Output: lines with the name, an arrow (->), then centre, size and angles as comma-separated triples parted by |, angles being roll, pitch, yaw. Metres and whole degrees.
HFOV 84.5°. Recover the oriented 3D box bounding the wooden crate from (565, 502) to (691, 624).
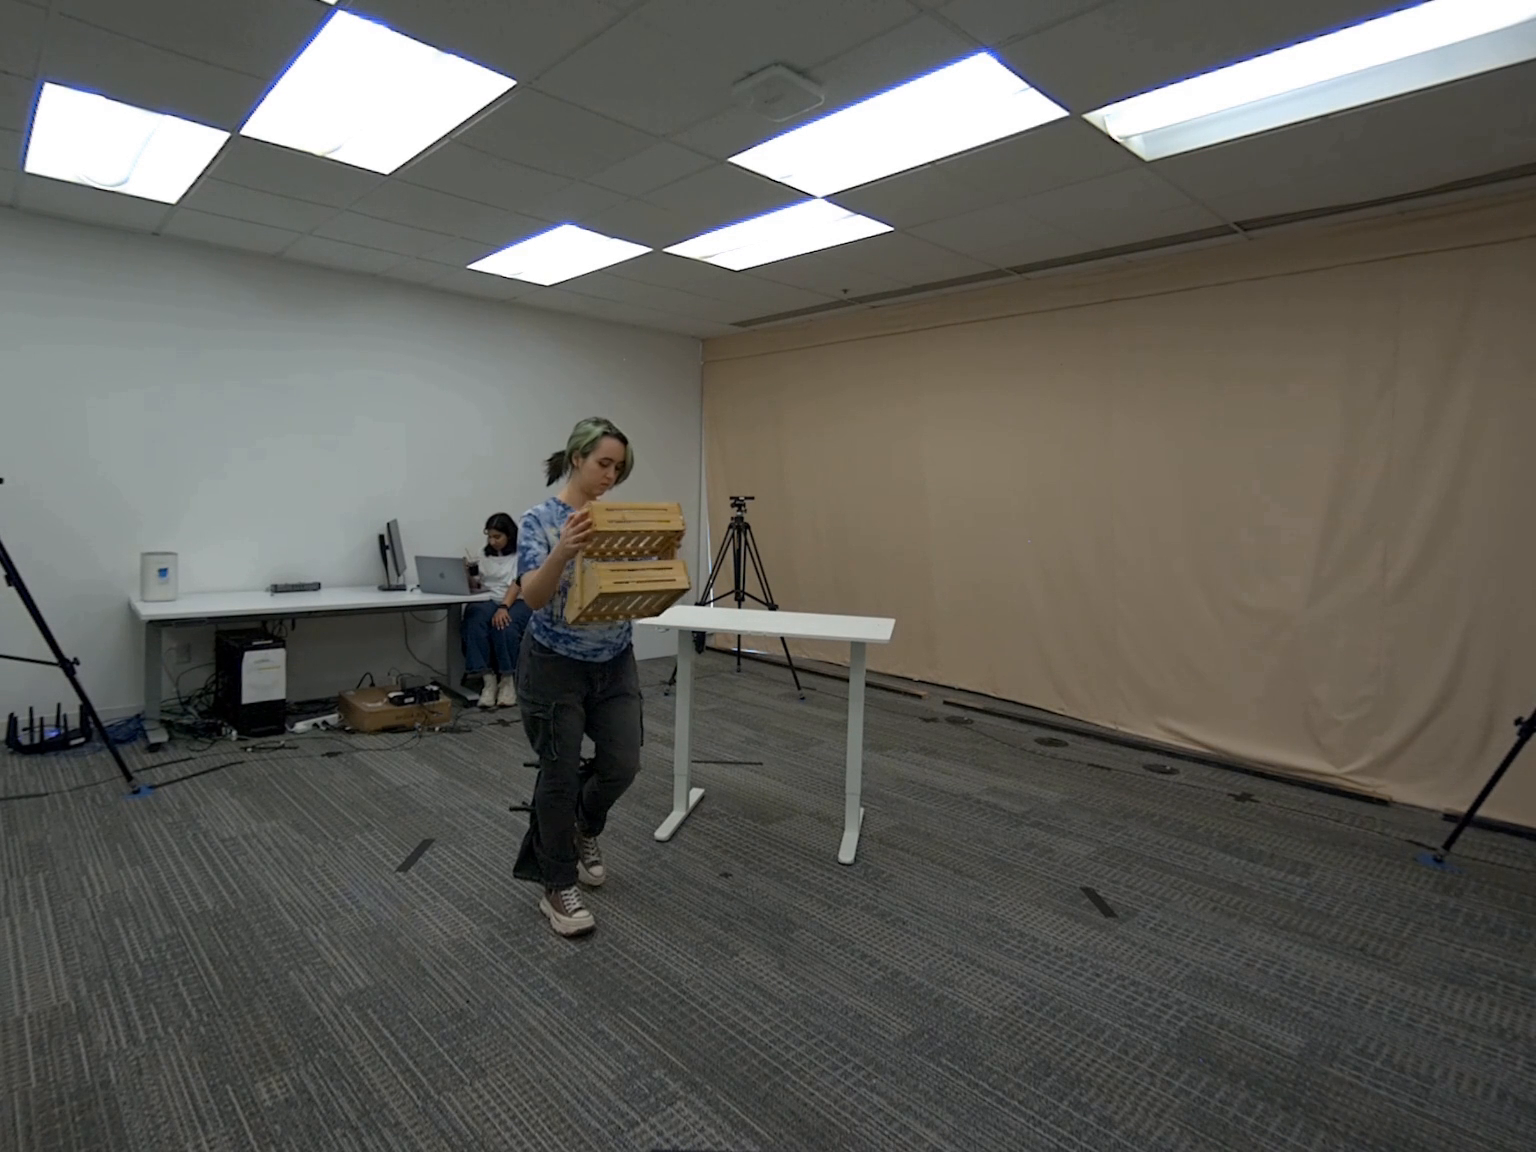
wooden crate -> -0.436, -0.036, 2.517 | 0.317, 0.278, 0.303 | -2, -24, -37
